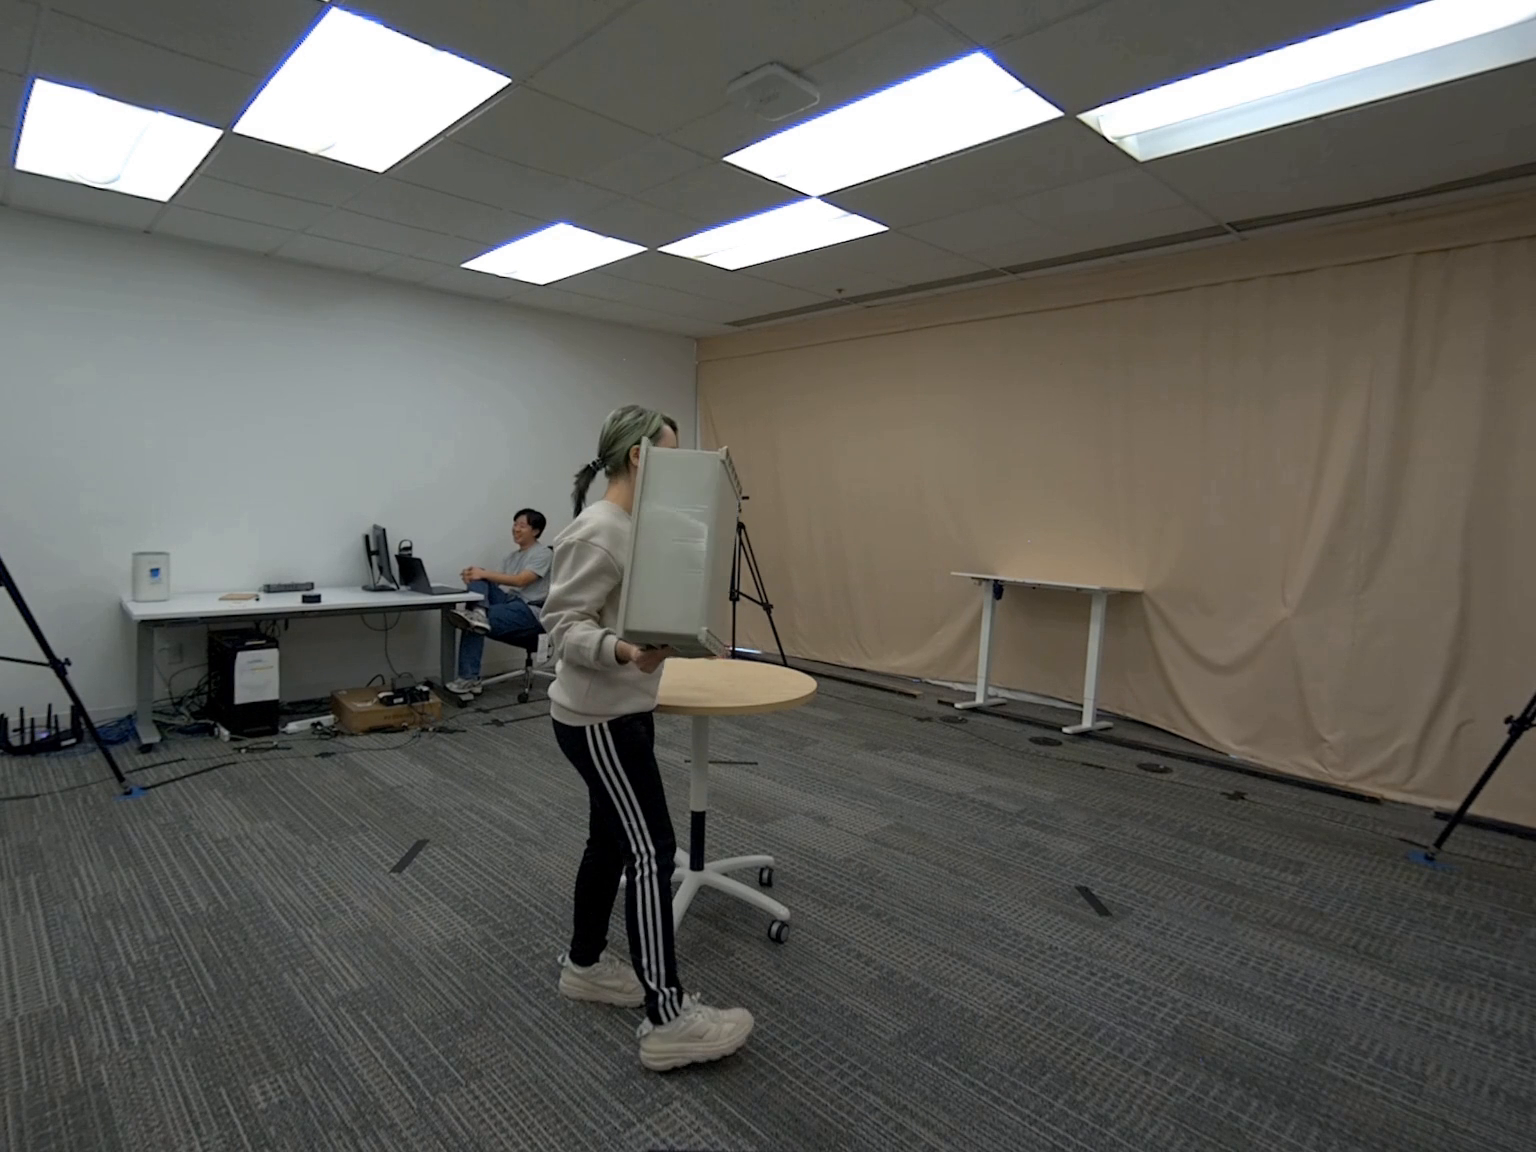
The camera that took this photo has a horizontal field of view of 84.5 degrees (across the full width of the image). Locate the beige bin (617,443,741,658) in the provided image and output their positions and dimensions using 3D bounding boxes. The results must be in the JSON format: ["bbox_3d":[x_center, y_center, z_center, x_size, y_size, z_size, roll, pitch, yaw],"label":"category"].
[{"bbox_3d":[-0.187,-0.041,1.872,0.190,0.426,0.372,6,-13,6],"label":"beige bin"}]
